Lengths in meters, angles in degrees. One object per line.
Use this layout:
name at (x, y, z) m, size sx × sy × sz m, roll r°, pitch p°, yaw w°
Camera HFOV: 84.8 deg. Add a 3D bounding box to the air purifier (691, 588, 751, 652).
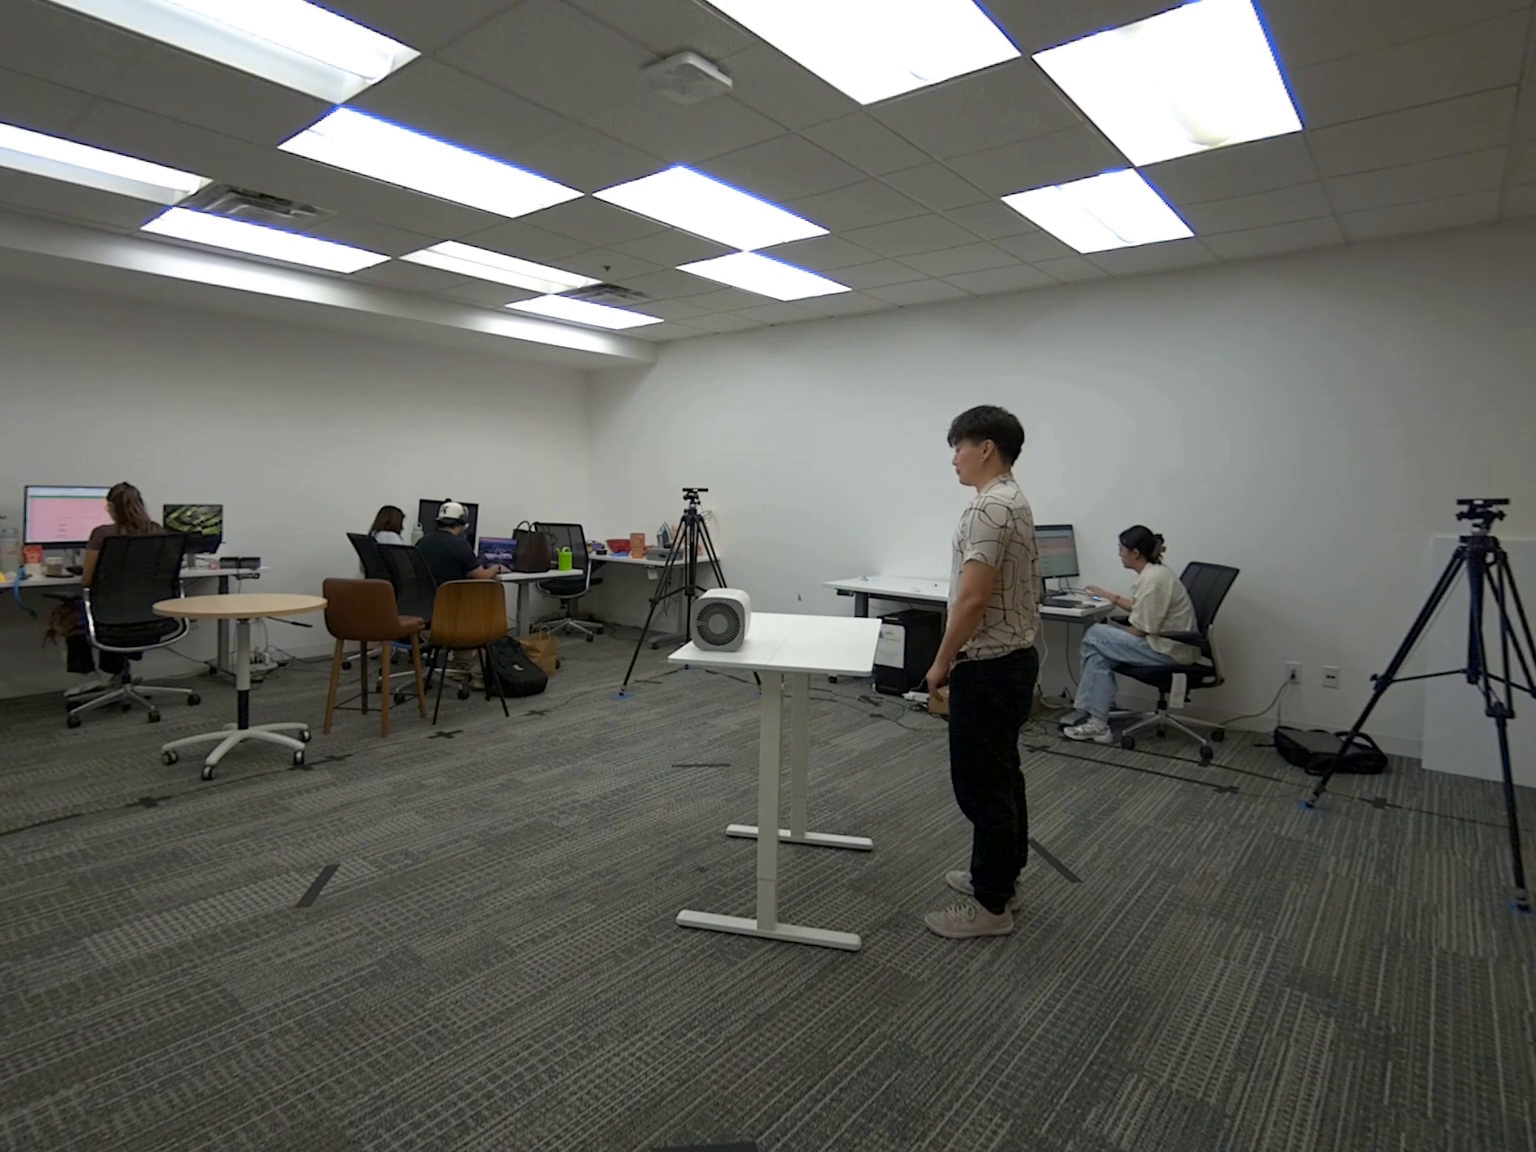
air purifier at (-0.158, 0.134, 2.787) m, size 0.173 × 0.170 × 0.264 m, roll -1°, pitch 5°, yaw 6°
